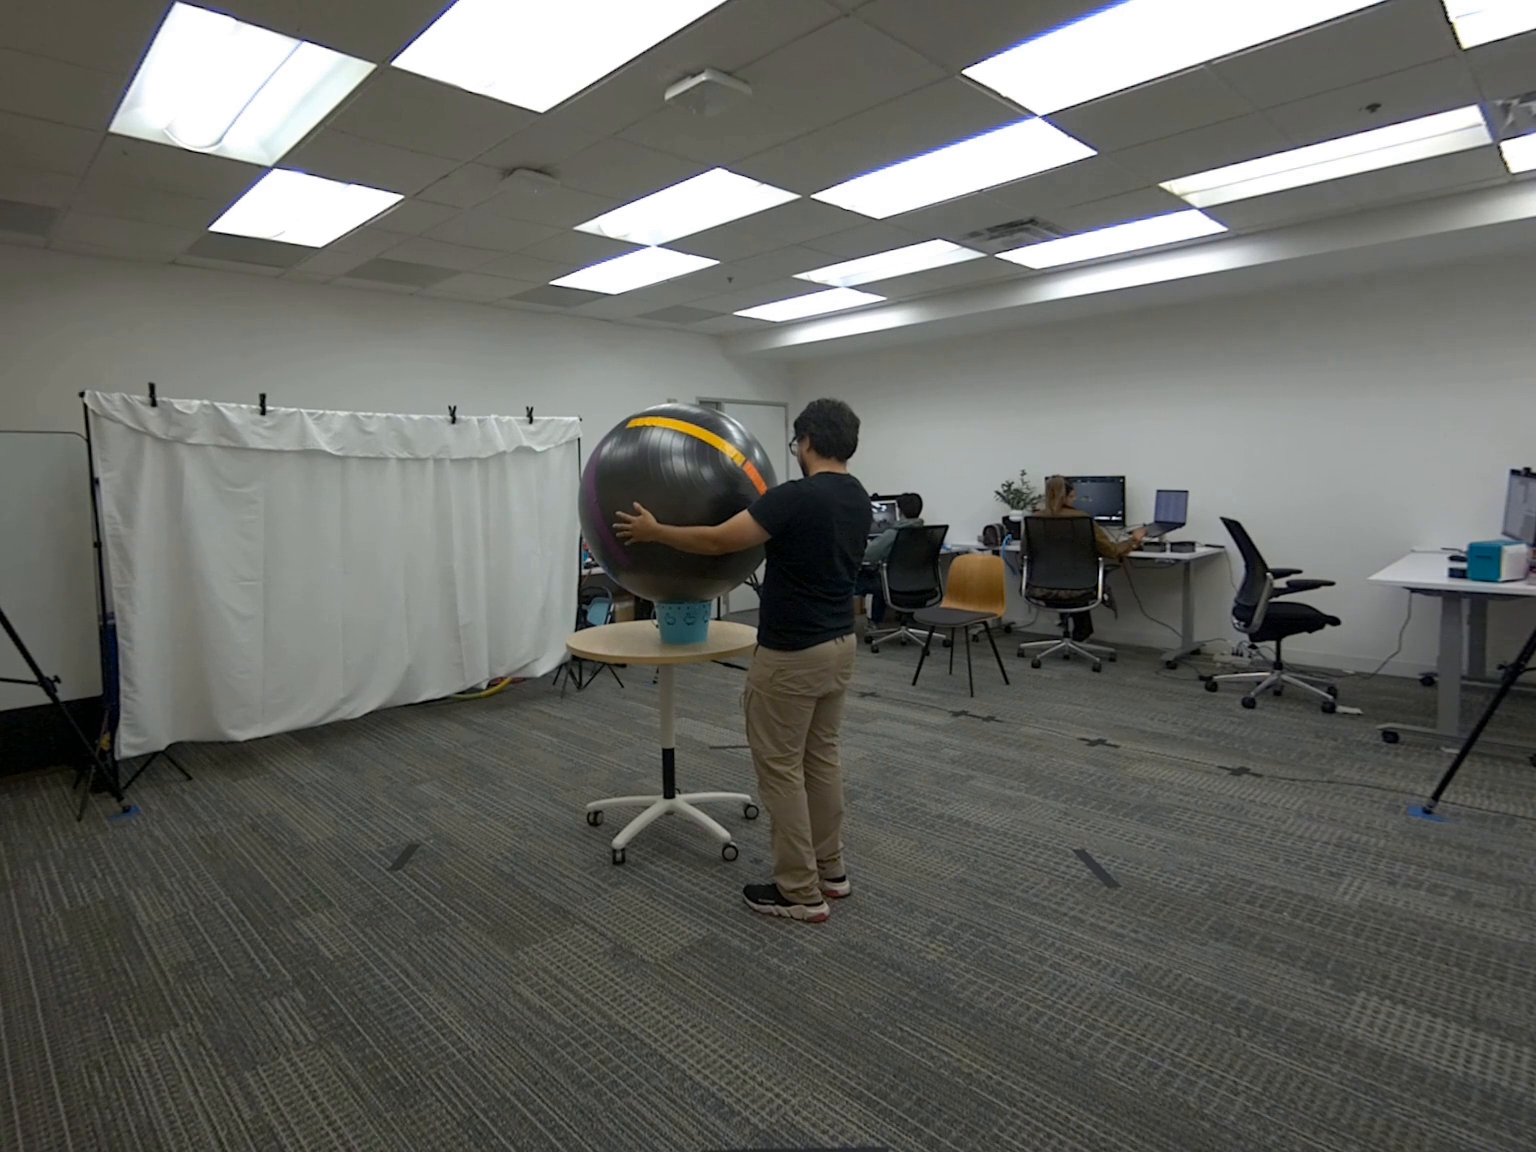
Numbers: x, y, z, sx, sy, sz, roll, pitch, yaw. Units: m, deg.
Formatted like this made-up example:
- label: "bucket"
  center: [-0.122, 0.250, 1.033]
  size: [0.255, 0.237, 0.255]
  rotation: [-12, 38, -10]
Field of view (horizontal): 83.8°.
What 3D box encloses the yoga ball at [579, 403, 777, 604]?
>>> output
- label: "yoga ball"
  center: [-0.334, -0.265, 3.228]
  size: [0.757, 0.755, 0.762]
  rotation: [-1, 5, -2]
